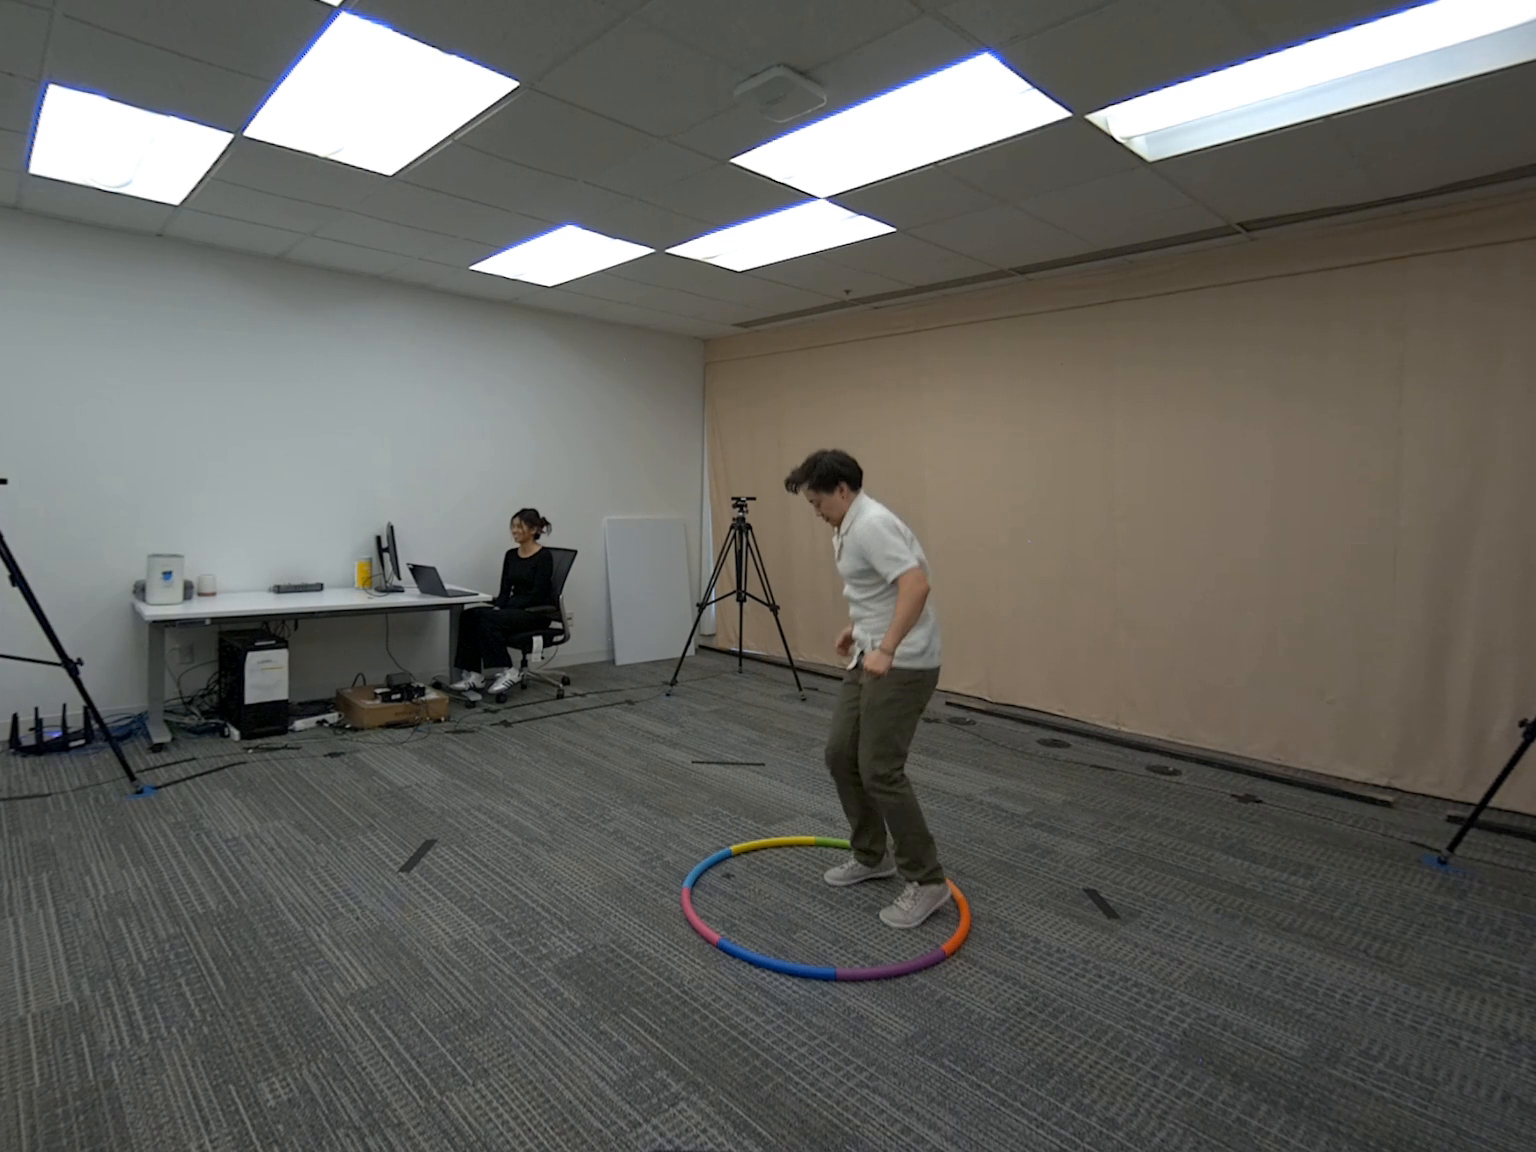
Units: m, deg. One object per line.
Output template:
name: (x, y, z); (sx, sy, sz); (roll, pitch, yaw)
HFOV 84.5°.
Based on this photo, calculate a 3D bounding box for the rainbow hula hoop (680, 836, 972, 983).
rainbow hula hoop: (0.182, 1.103, 2.924); (0.978, 0.035, 0.983); (1, 6, -1)
